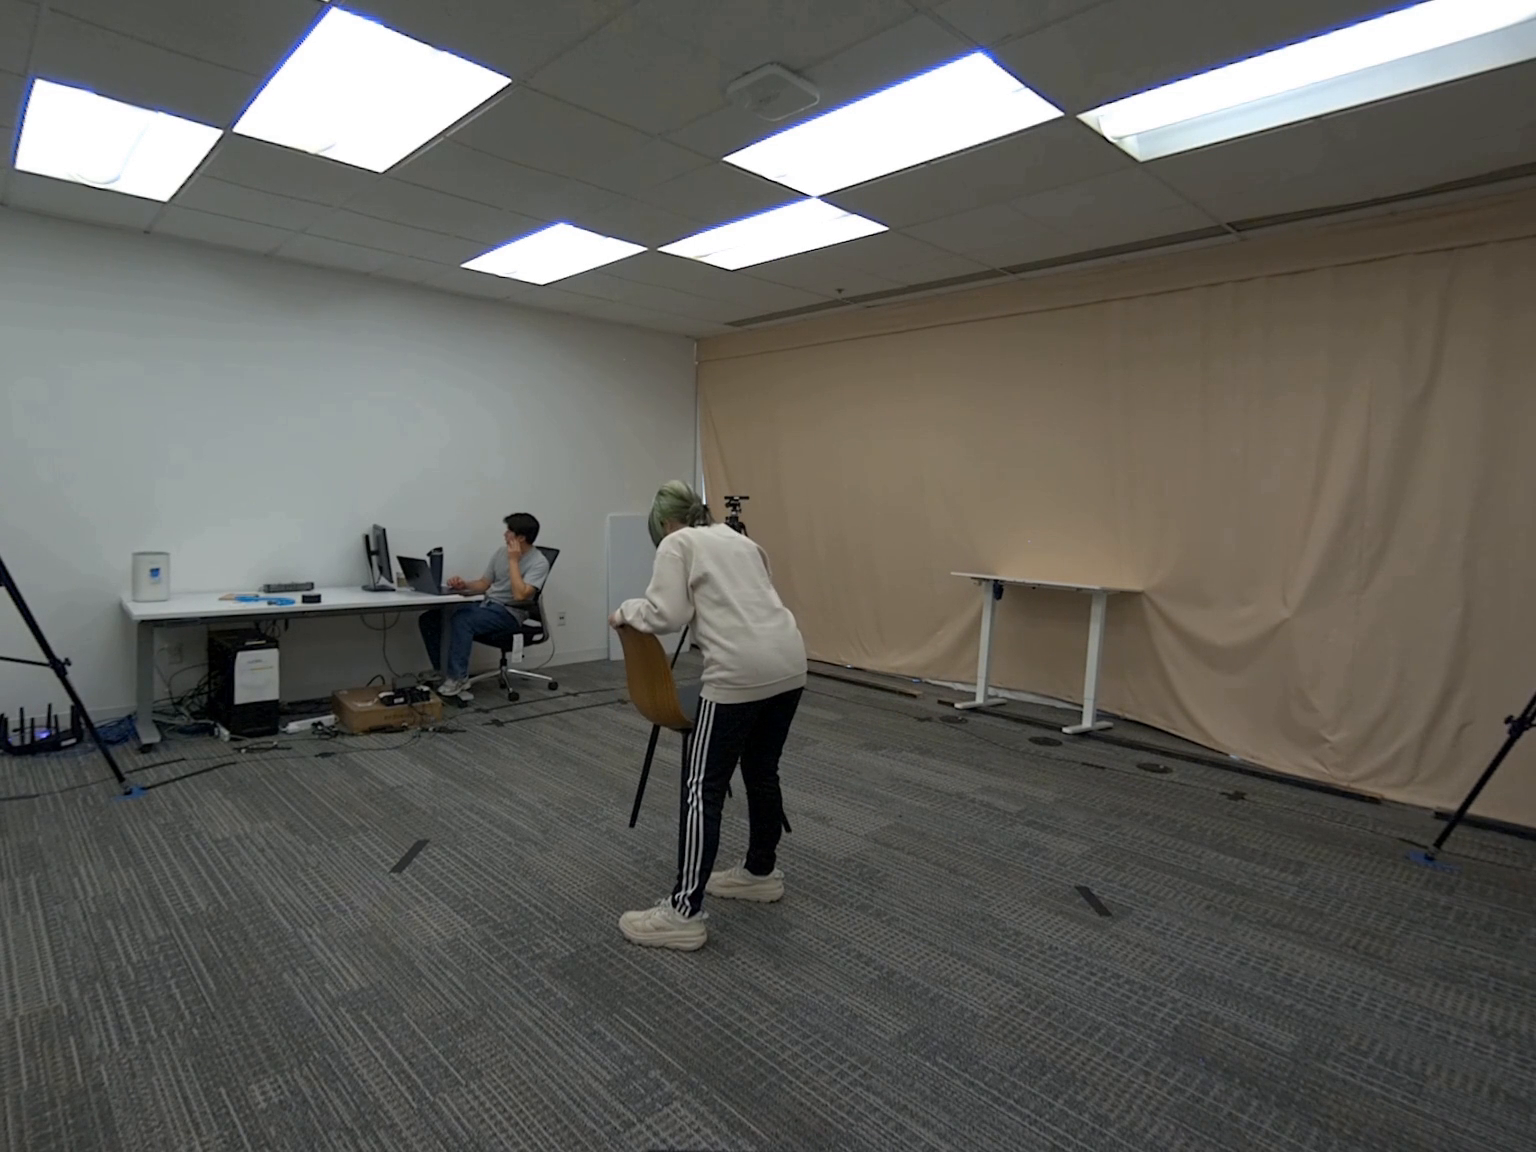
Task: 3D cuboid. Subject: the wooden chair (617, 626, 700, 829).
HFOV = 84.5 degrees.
[{"bbox_3d":[-0.263,0.534,3.110,0.515,0.872,0.488,-13,8,-30],"label":"wooden chair"}]
